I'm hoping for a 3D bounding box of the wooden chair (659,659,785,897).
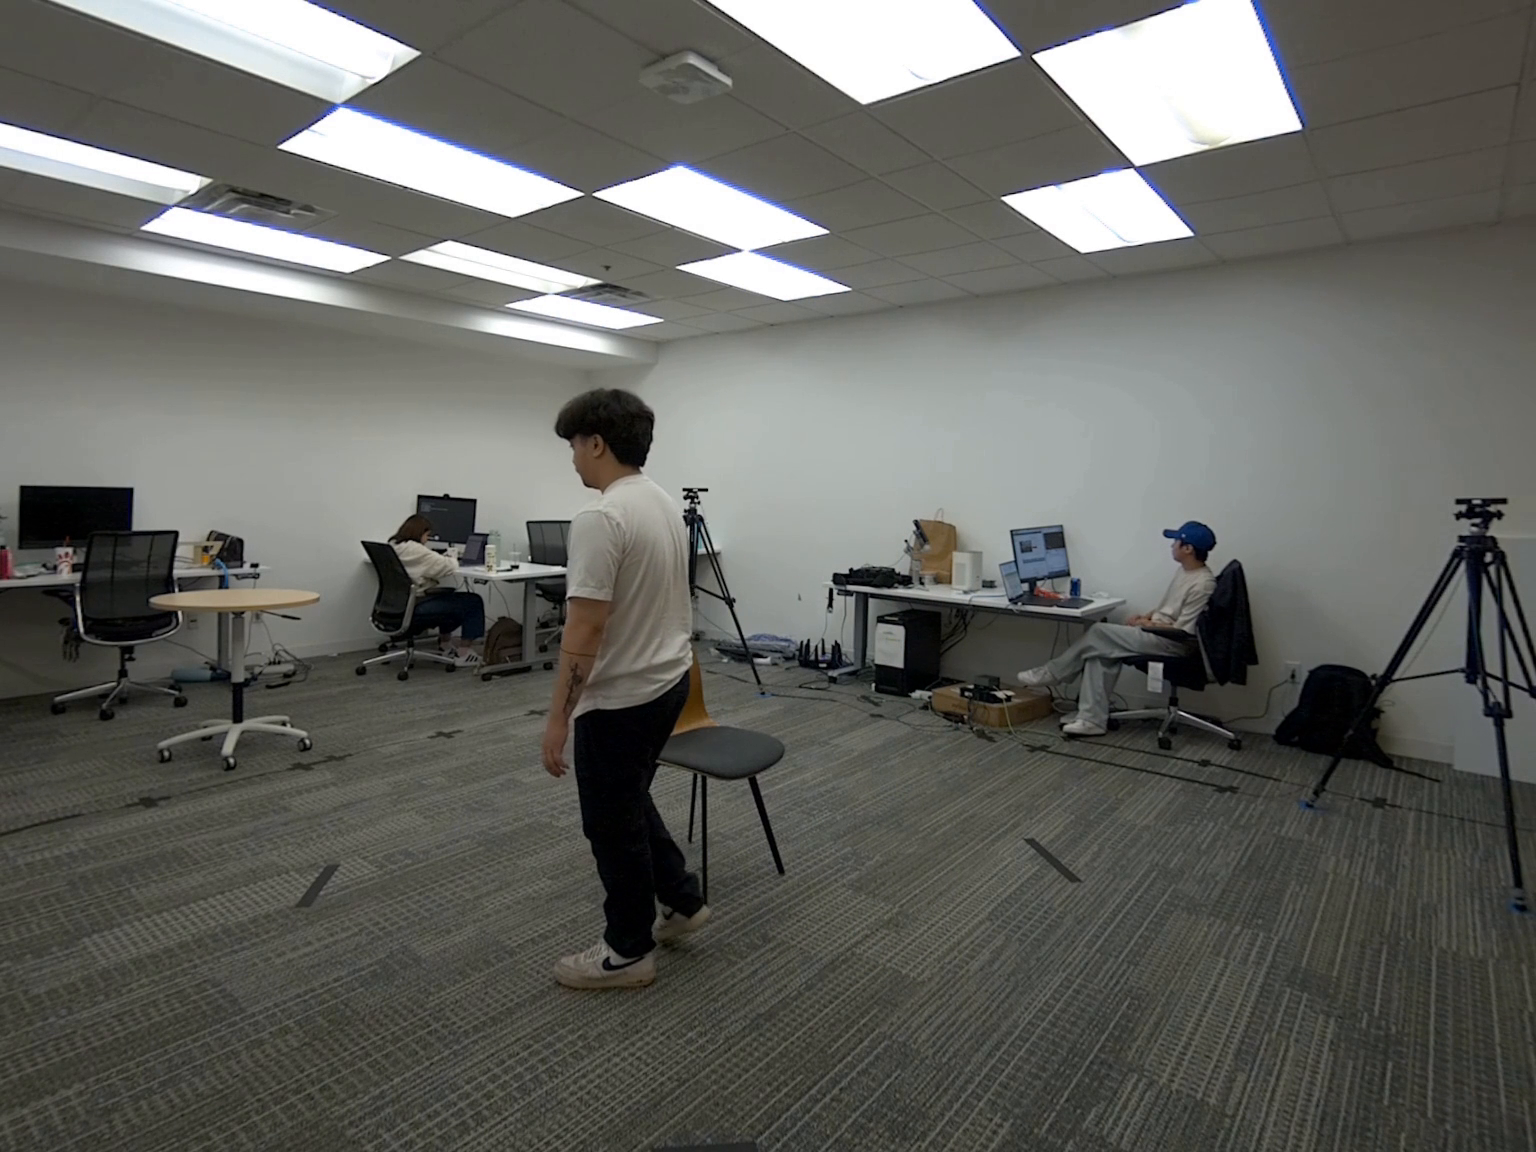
[{"bbox_3d":[-0.243,0.649,3.019,0.539,0.877,0.464,-2,0,37],"label":"wooden chair"}]
